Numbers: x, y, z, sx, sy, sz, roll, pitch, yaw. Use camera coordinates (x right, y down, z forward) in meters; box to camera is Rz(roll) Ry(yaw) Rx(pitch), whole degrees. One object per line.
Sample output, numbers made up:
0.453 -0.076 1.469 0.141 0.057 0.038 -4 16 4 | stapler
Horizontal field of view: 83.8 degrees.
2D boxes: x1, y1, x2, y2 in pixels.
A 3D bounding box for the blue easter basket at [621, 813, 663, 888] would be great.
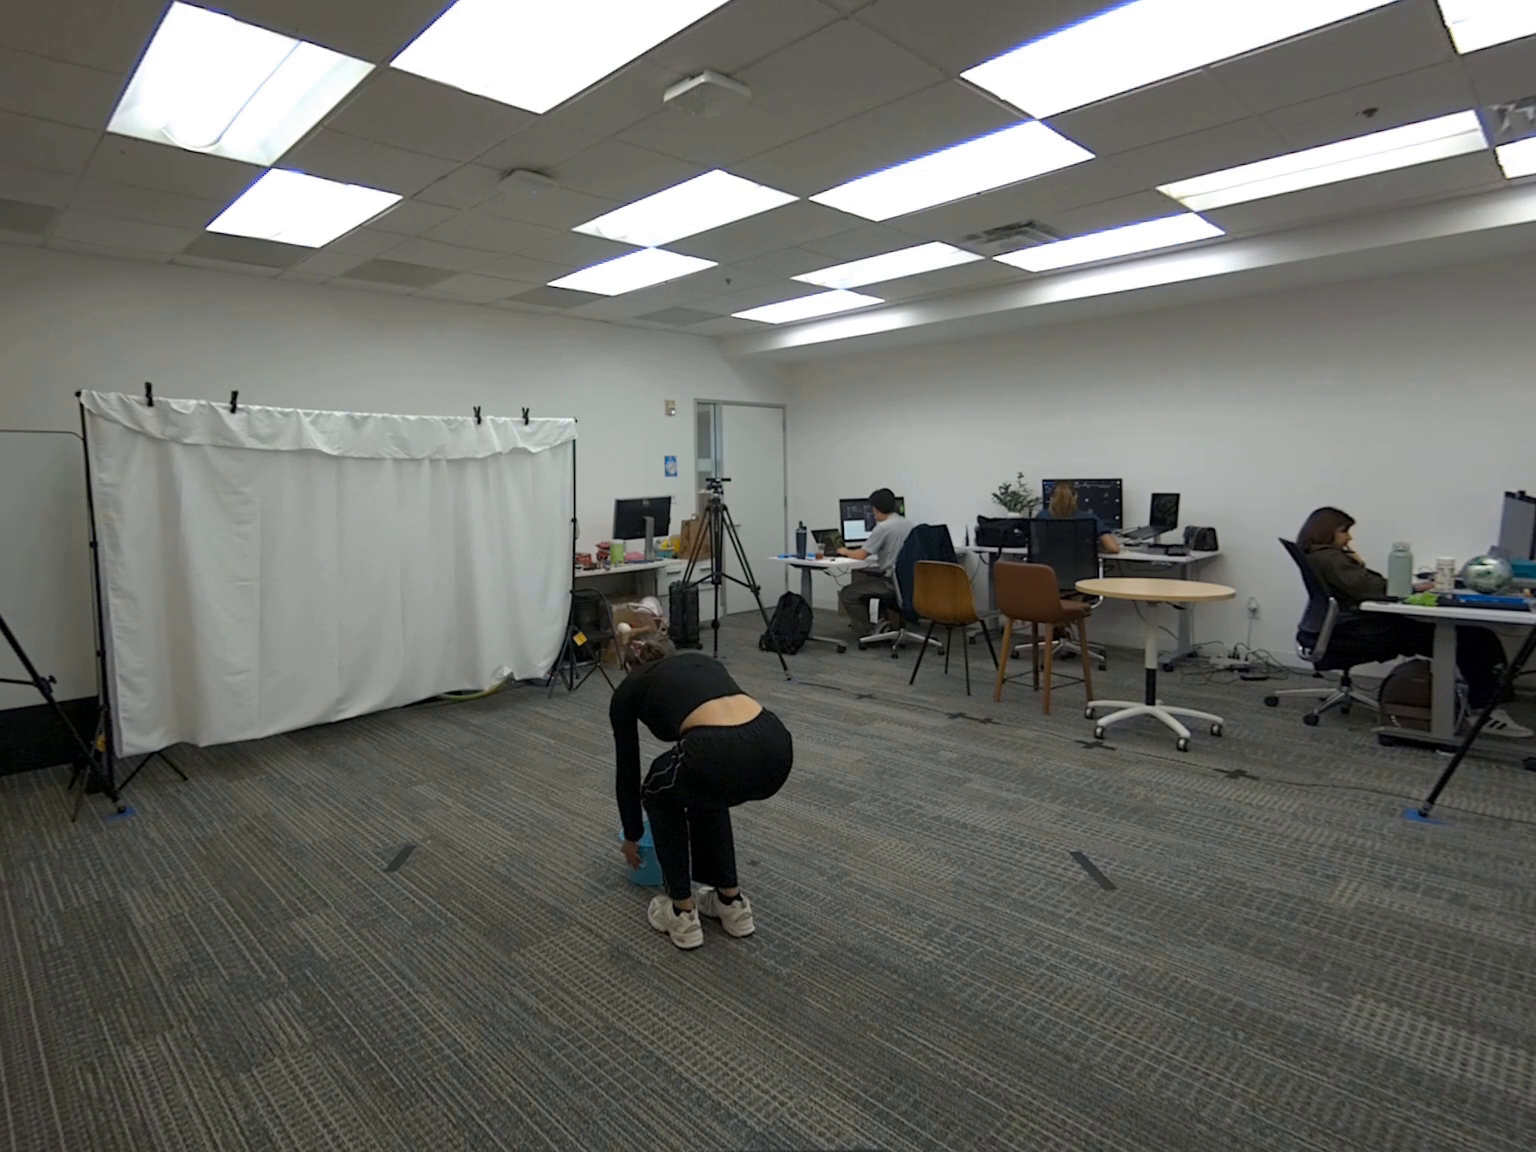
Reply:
-0.401 0.975 3.026 0.243 0.155 0.245 -2 5 -2 | blue easter basket
